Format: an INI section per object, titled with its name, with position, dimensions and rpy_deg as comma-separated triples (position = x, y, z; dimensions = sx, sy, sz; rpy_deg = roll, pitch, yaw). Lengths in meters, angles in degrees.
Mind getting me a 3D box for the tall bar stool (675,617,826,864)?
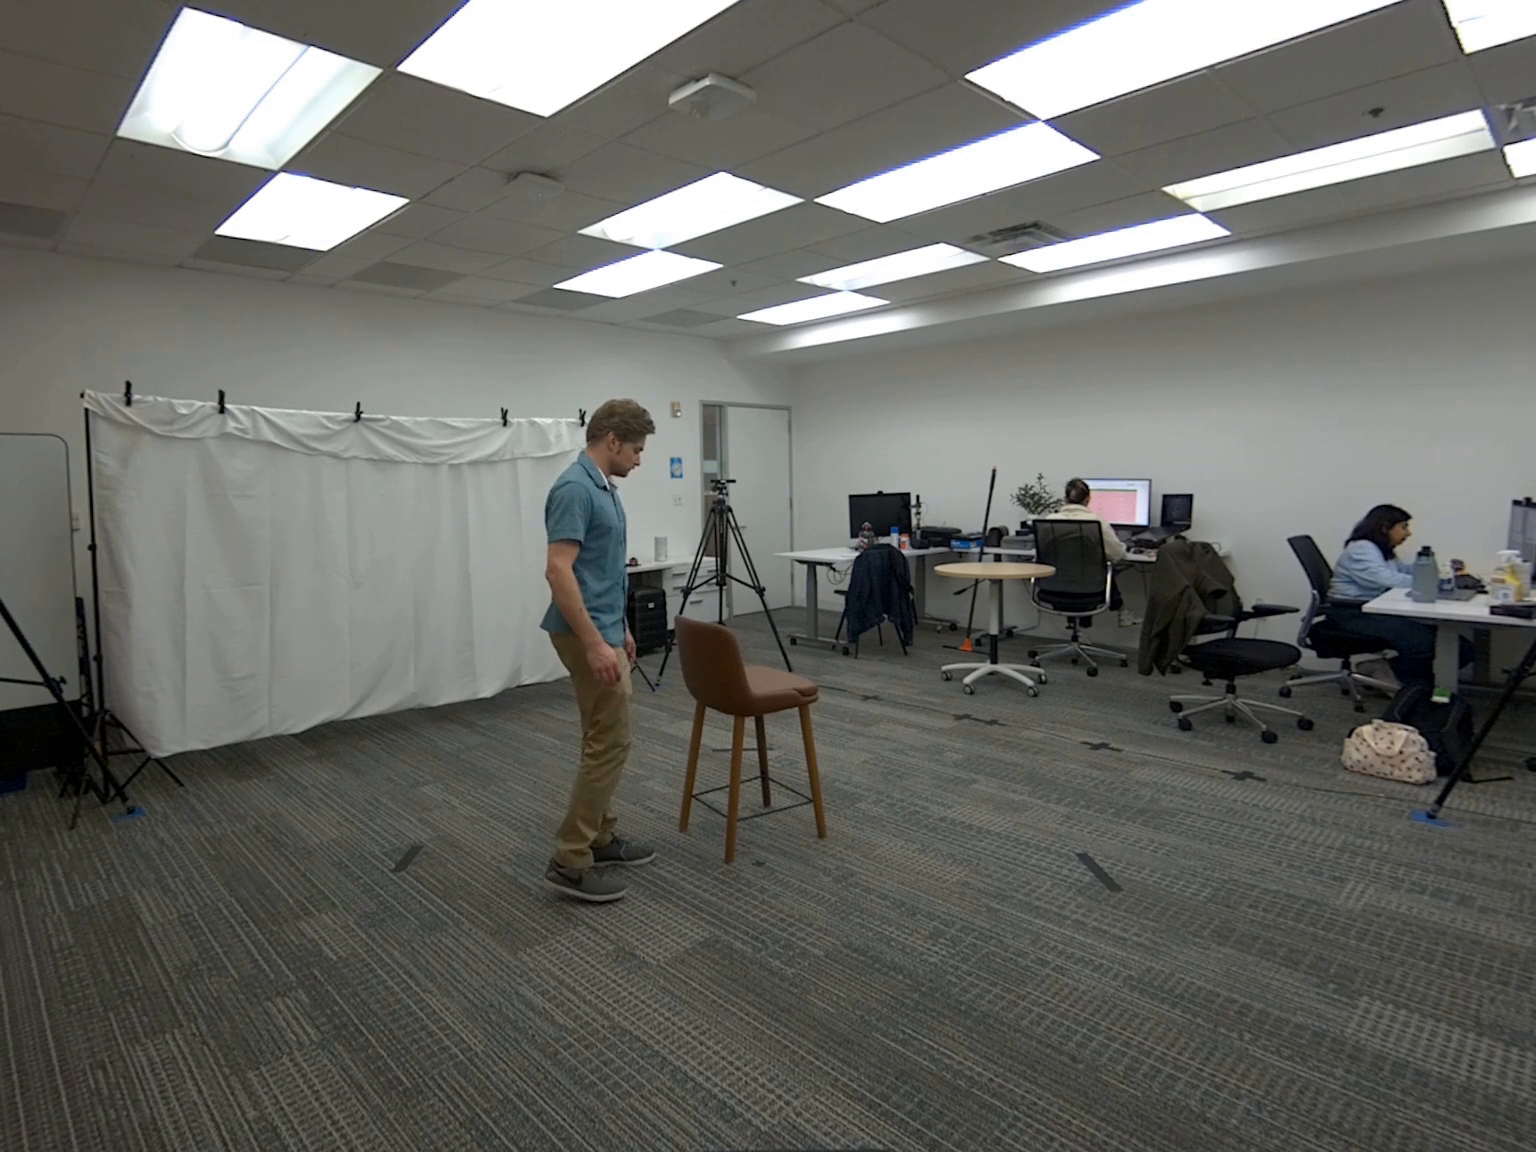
[tall bar stool]
position = -0.082, 0.584, 3.358
dimensions = 0.456, 0.886, 0.470
rpy_deg = -6, 6, -34
